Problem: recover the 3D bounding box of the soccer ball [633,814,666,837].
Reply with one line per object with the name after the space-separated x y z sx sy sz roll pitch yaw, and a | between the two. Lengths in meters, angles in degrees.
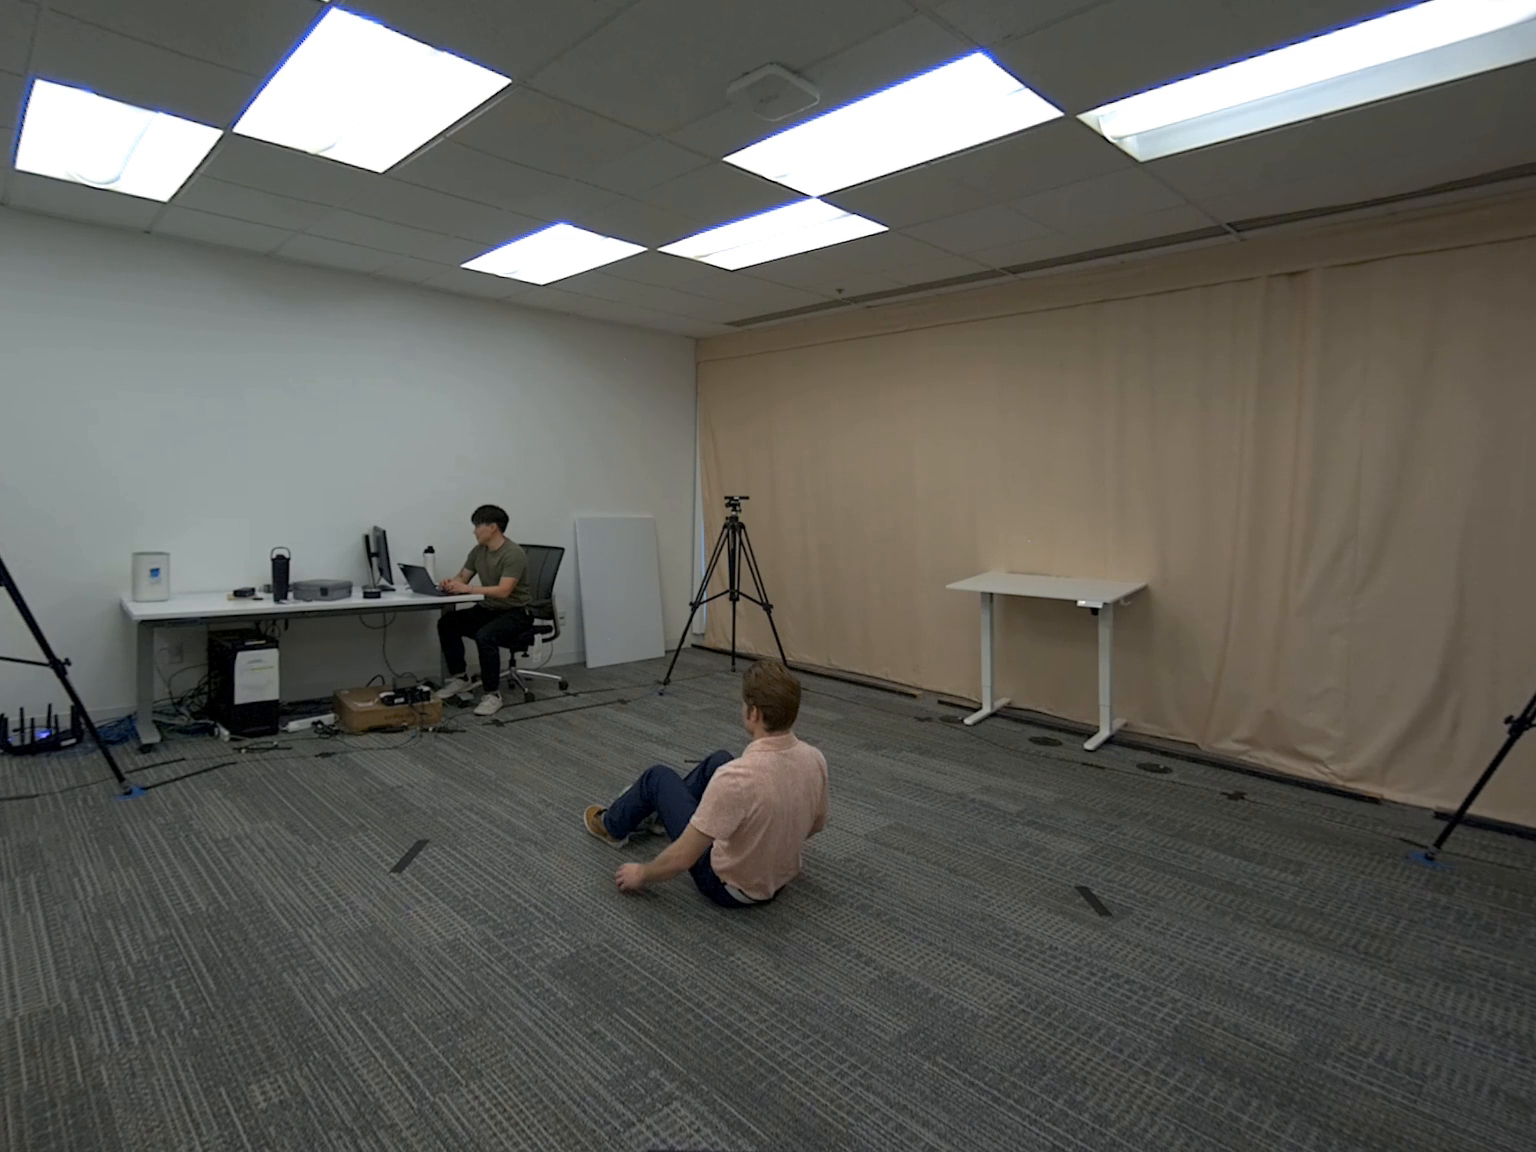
-0.524 0.943 3.425 0.187 0.187 0.188 1 4 -1 | soccer ball
